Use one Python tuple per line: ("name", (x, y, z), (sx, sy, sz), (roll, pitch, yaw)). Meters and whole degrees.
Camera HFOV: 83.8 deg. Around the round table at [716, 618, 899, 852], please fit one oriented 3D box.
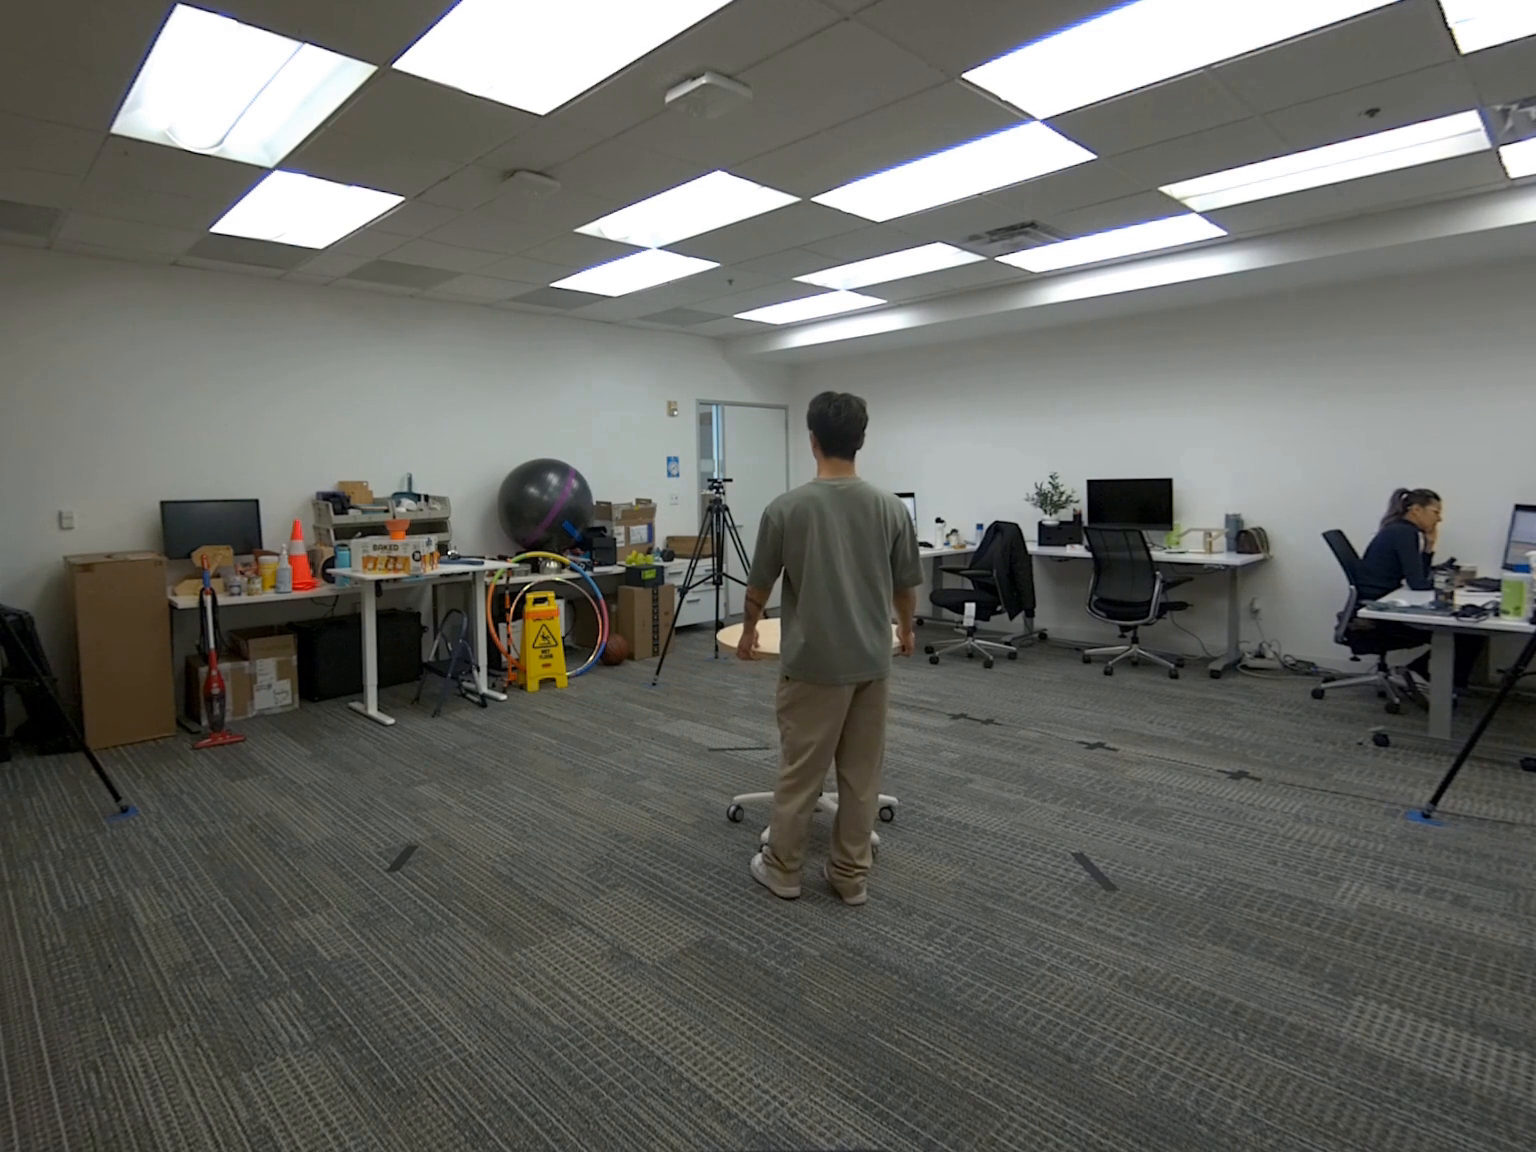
("round table", (0.194, 0.615, 3.387), (0.784, 0.783, 0.790), (-1, 6, -2))
